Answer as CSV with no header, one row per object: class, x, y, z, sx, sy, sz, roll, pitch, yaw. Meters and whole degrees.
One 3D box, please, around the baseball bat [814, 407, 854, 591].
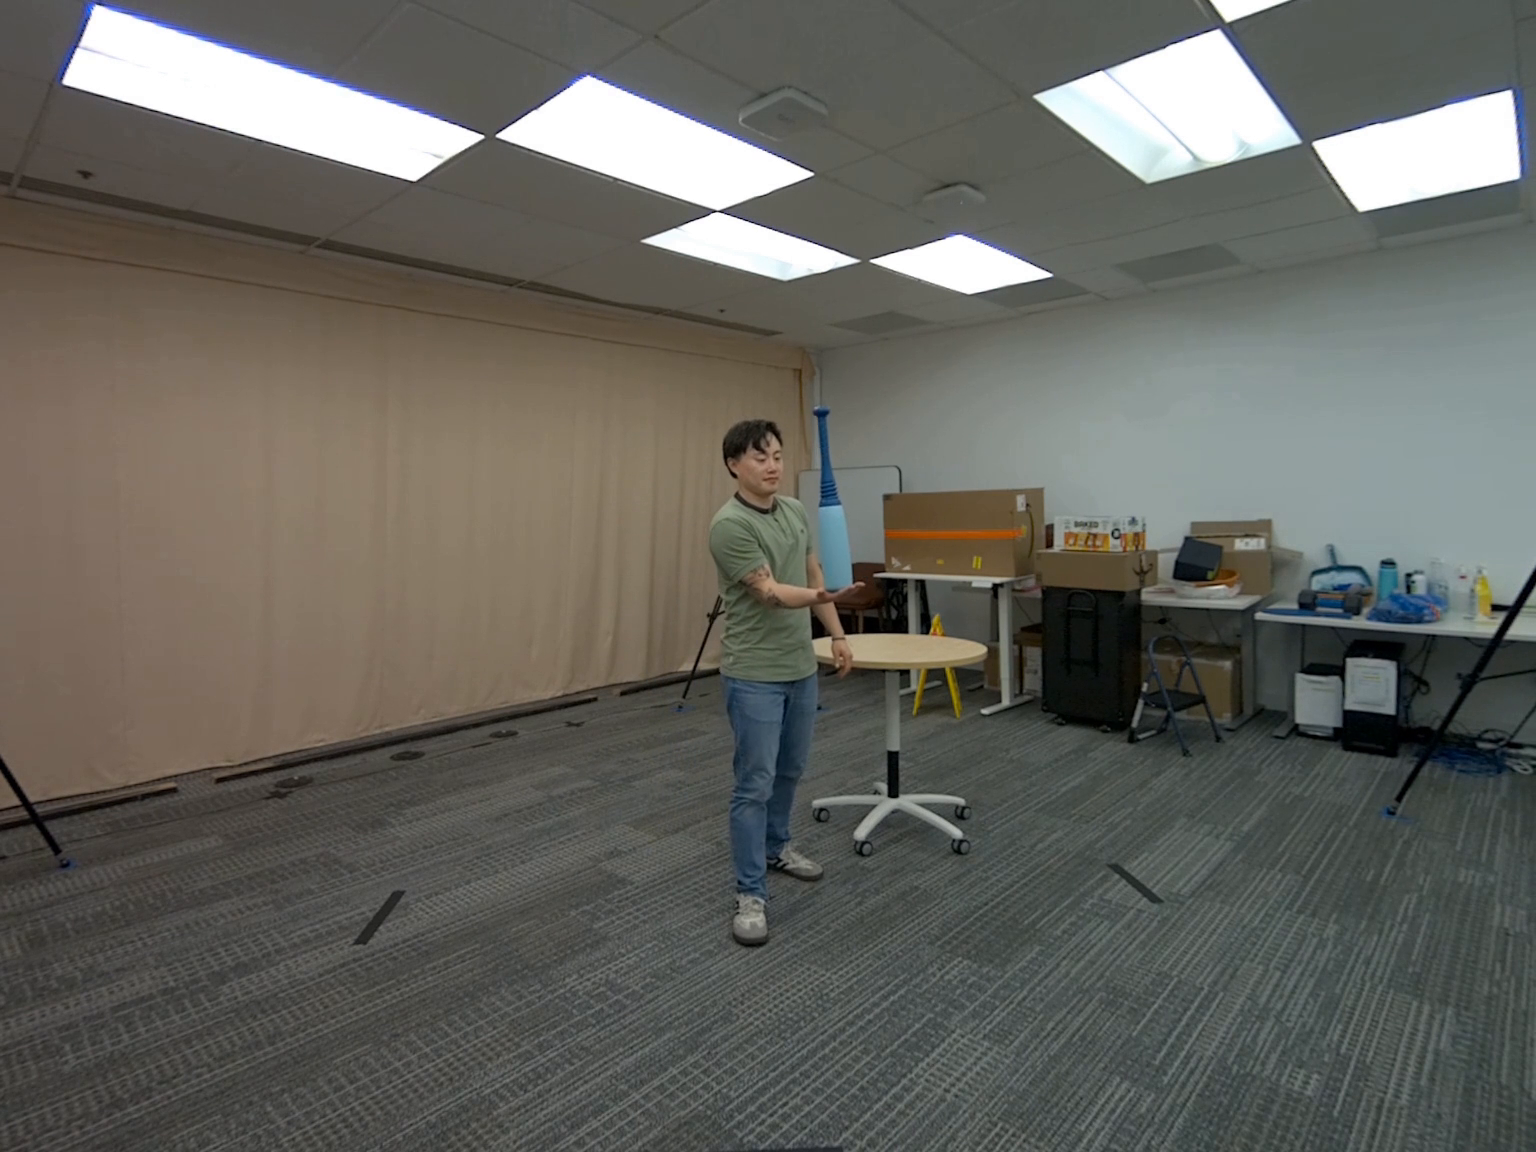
baseball bat,0.189,-0.226,2.479,0.089,0.542,0.089,-4,2,-2
